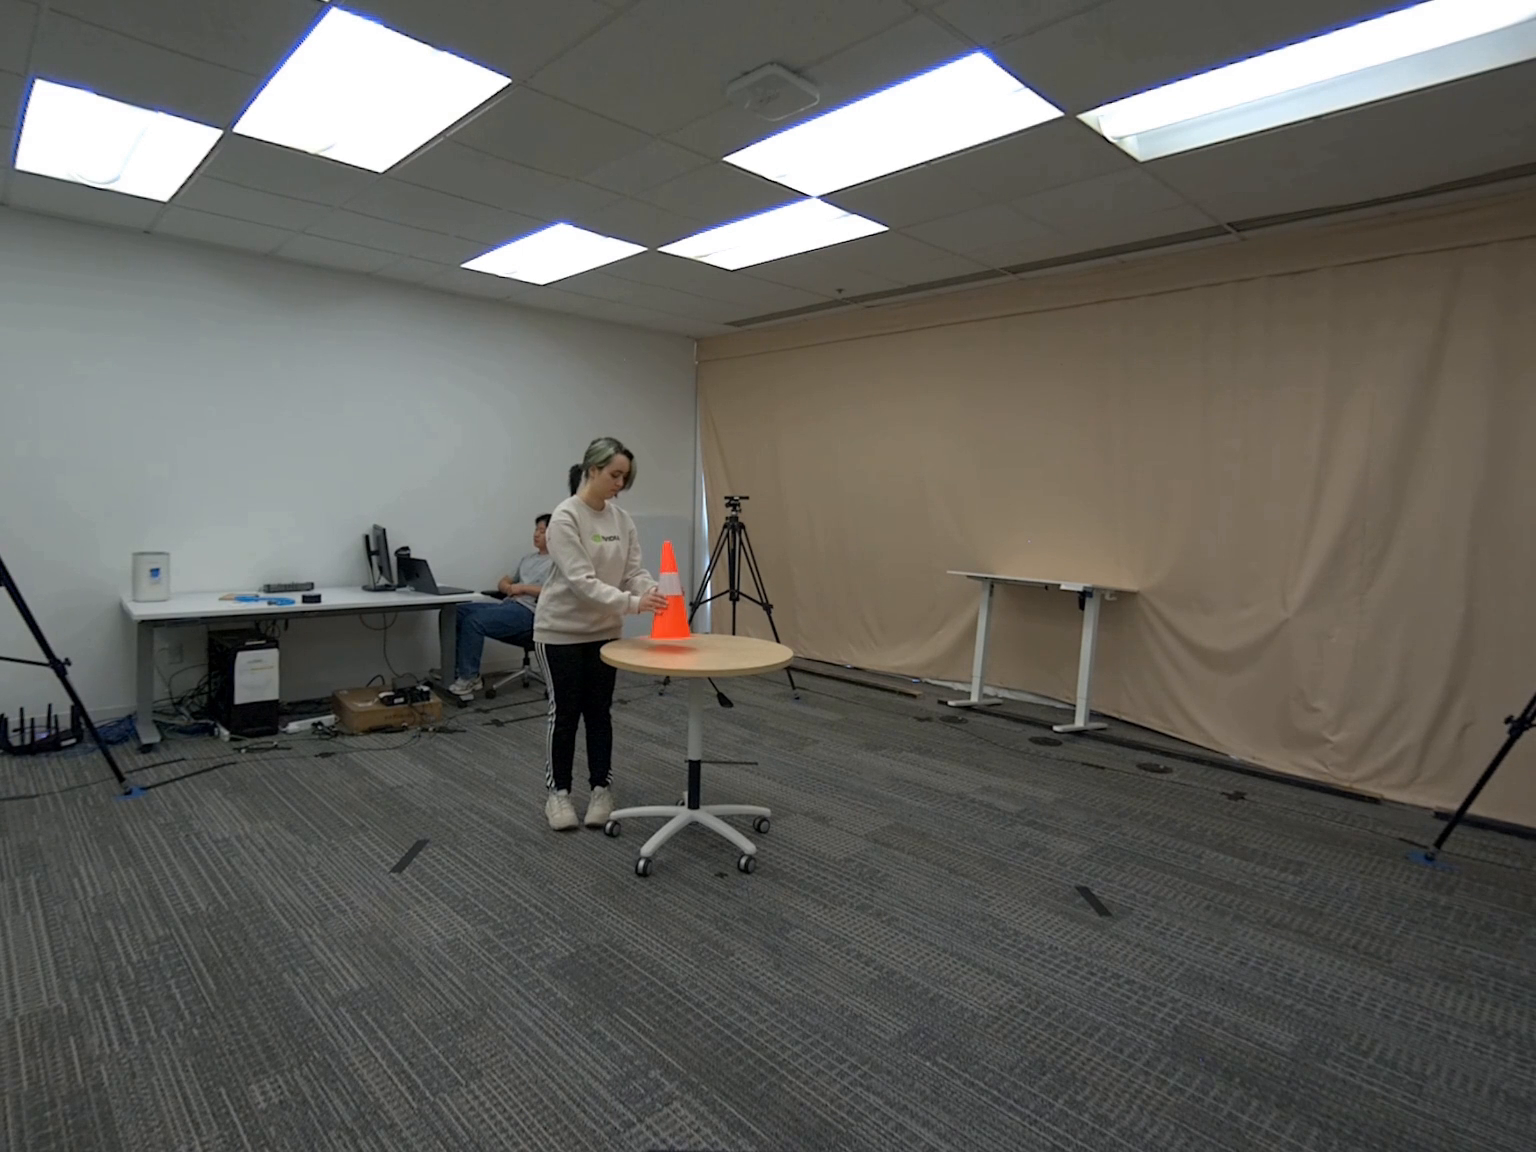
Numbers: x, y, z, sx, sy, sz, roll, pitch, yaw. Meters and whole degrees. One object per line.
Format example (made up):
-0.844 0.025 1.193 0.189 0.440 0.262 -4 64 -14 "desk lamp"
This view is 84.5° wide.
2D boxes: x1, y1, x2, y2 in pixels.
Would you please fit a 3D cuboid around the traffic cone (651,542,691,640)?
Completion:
-0.405 0.054 3.346 0.208 0.384 0.200 -1 -2 37 "traffic cone"
